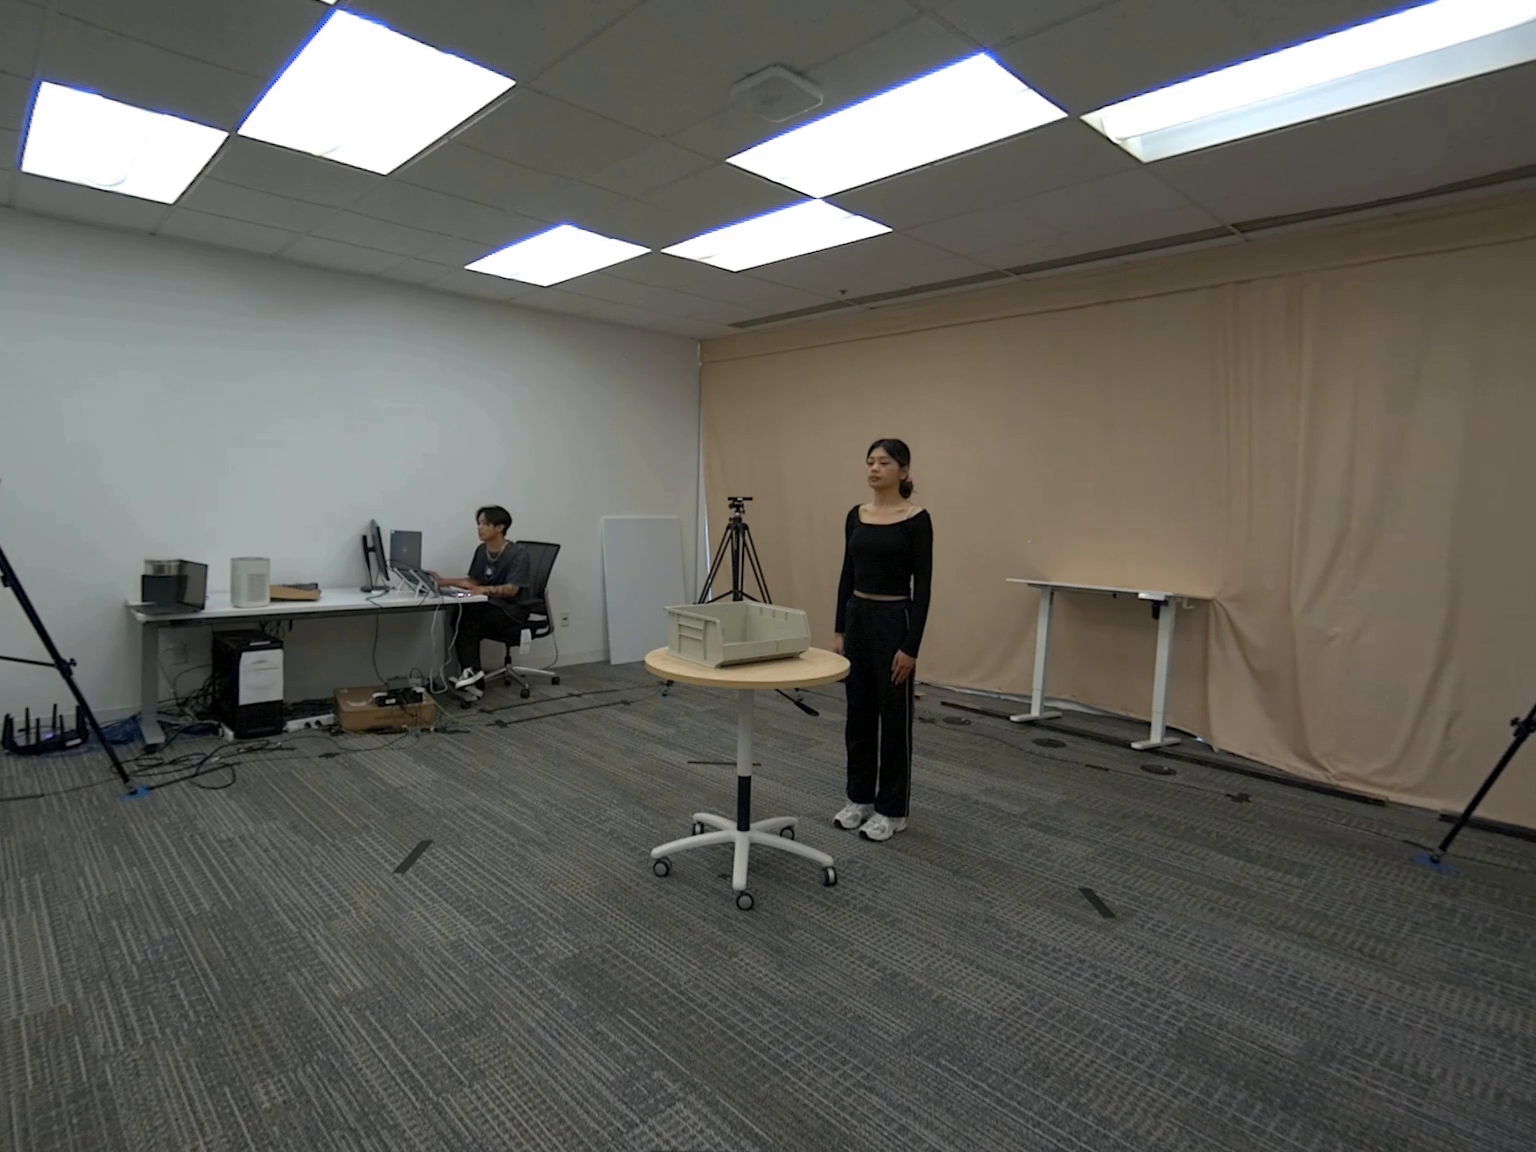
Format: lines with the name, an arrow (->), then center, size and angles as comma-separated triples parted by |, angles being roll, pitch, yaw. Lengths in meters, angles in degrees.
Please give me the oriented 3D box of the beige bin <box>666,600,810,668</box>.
beige bin -> -0.123, 0.219, 3.187 | 0.413, 0.188, 0.387 | -3, 6, -39
